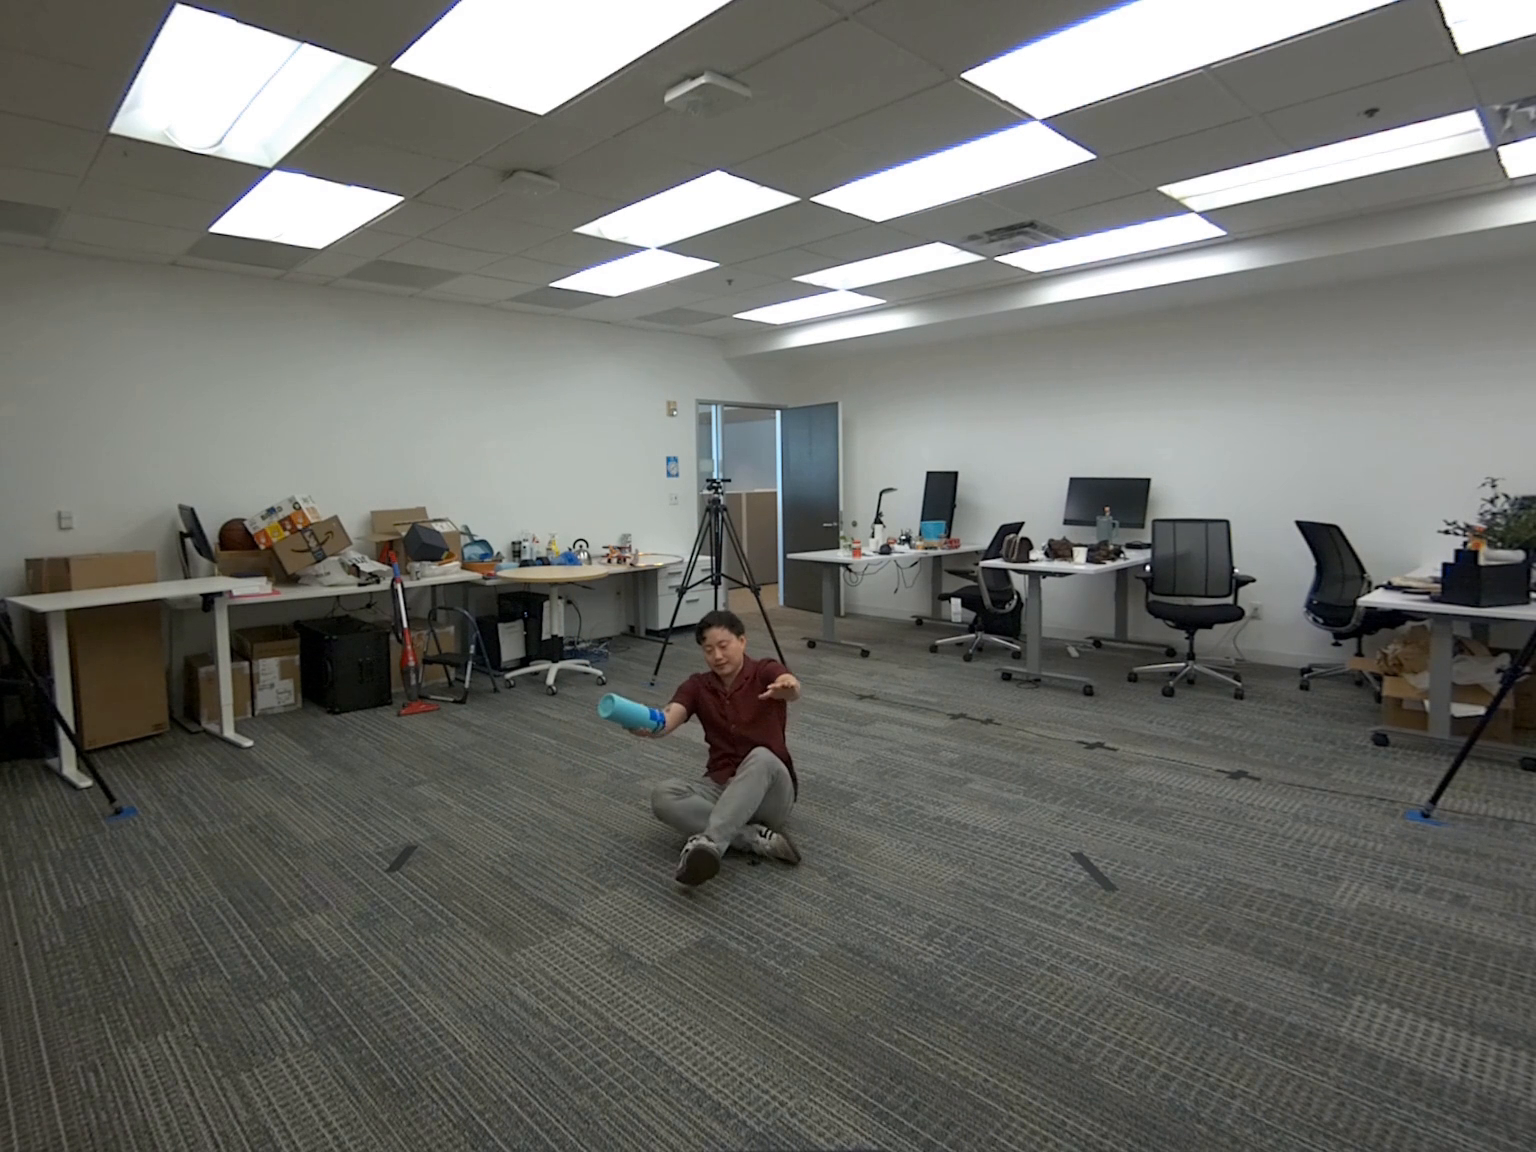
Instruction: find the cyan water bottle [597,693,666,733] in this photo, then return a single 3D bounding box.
[{"bbox_3d":[-0.477,0.502,3.034,0.095,0.093,0.272,3,-20,43],"label":"cyan water bottle"}]
